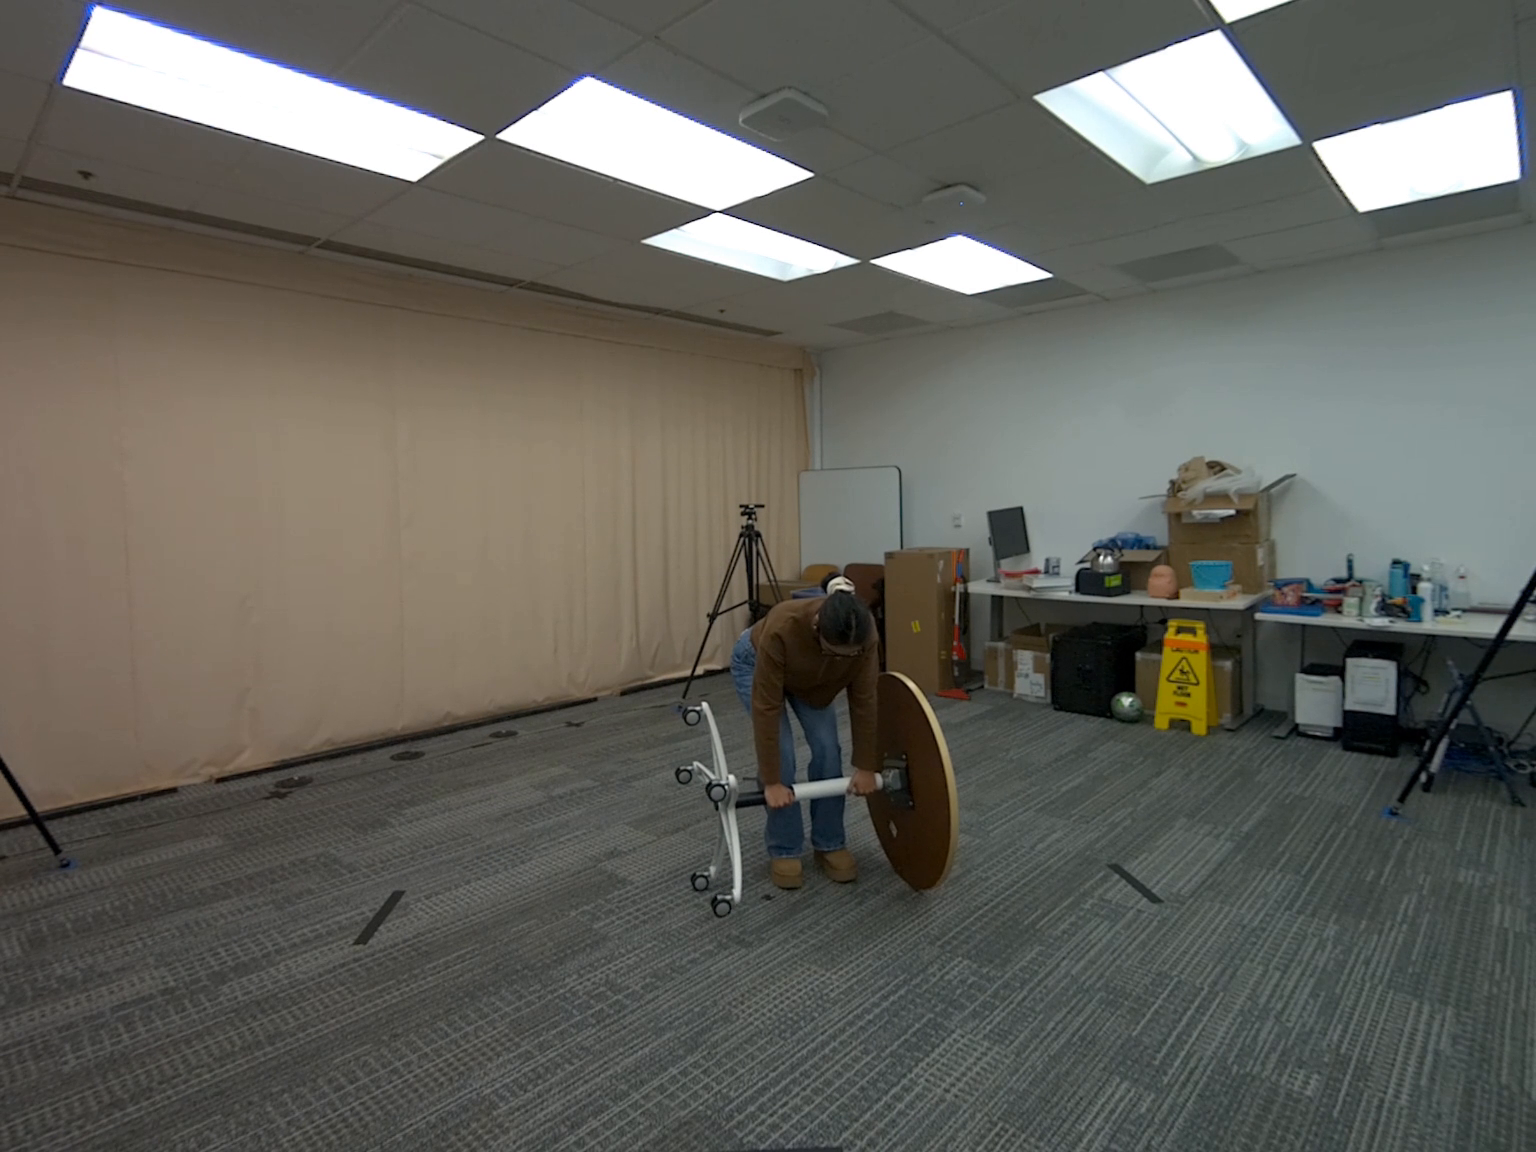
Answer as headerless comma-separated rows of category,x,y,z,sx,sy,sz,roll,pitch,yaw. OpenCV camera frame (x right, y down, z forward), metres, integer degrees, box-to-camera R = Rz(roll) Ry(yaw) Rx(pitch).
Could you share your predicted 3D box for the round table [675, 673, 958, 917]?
round table,0.123,0.781,2.998,0.783,0.762,0.777,-5,5,-14
